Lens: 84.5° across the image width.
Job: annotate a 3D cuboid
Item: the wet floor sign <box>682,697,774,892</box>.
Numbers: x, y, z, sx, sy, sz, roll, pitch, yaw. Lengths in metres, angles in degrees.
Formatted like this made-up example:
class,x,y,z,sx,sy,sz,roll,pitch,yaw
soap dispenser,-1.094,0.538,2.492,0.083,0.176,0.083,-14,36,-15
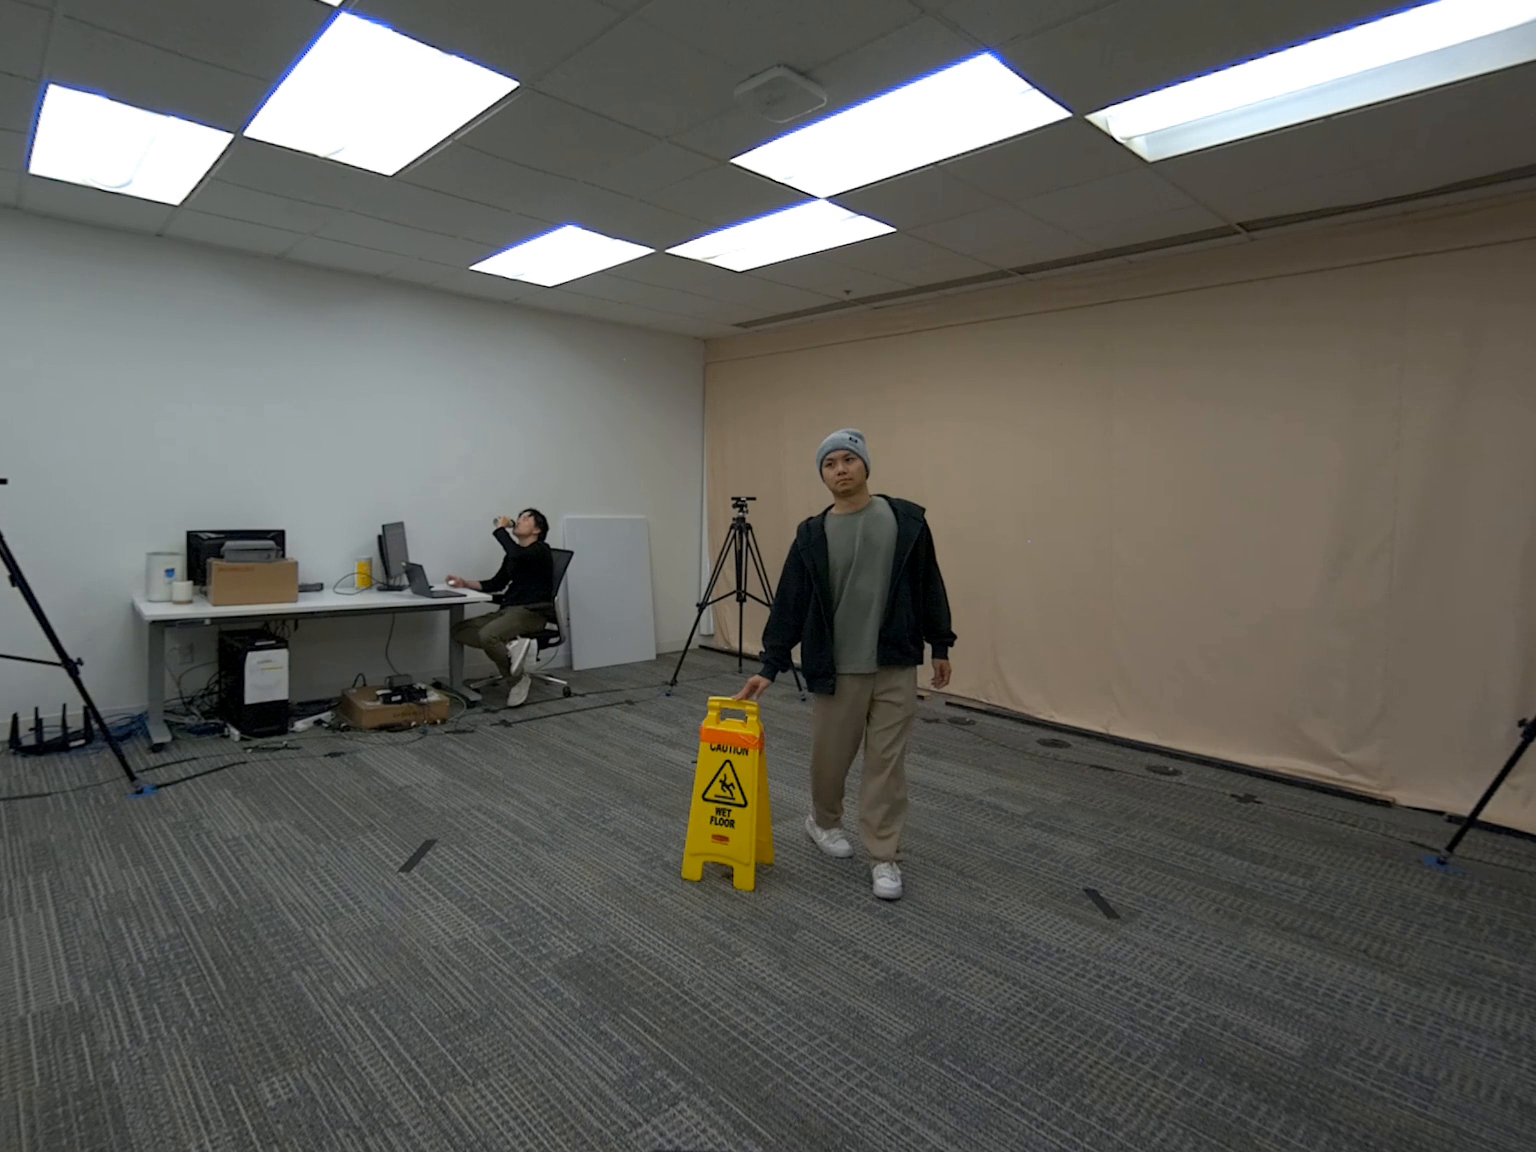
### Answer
class,x,y,z,sx,sy,sz,roll,pitch,yaw
wet floor sign,-0.139,0.780,3.137,0.286,0.644,0.286,4,4,18
